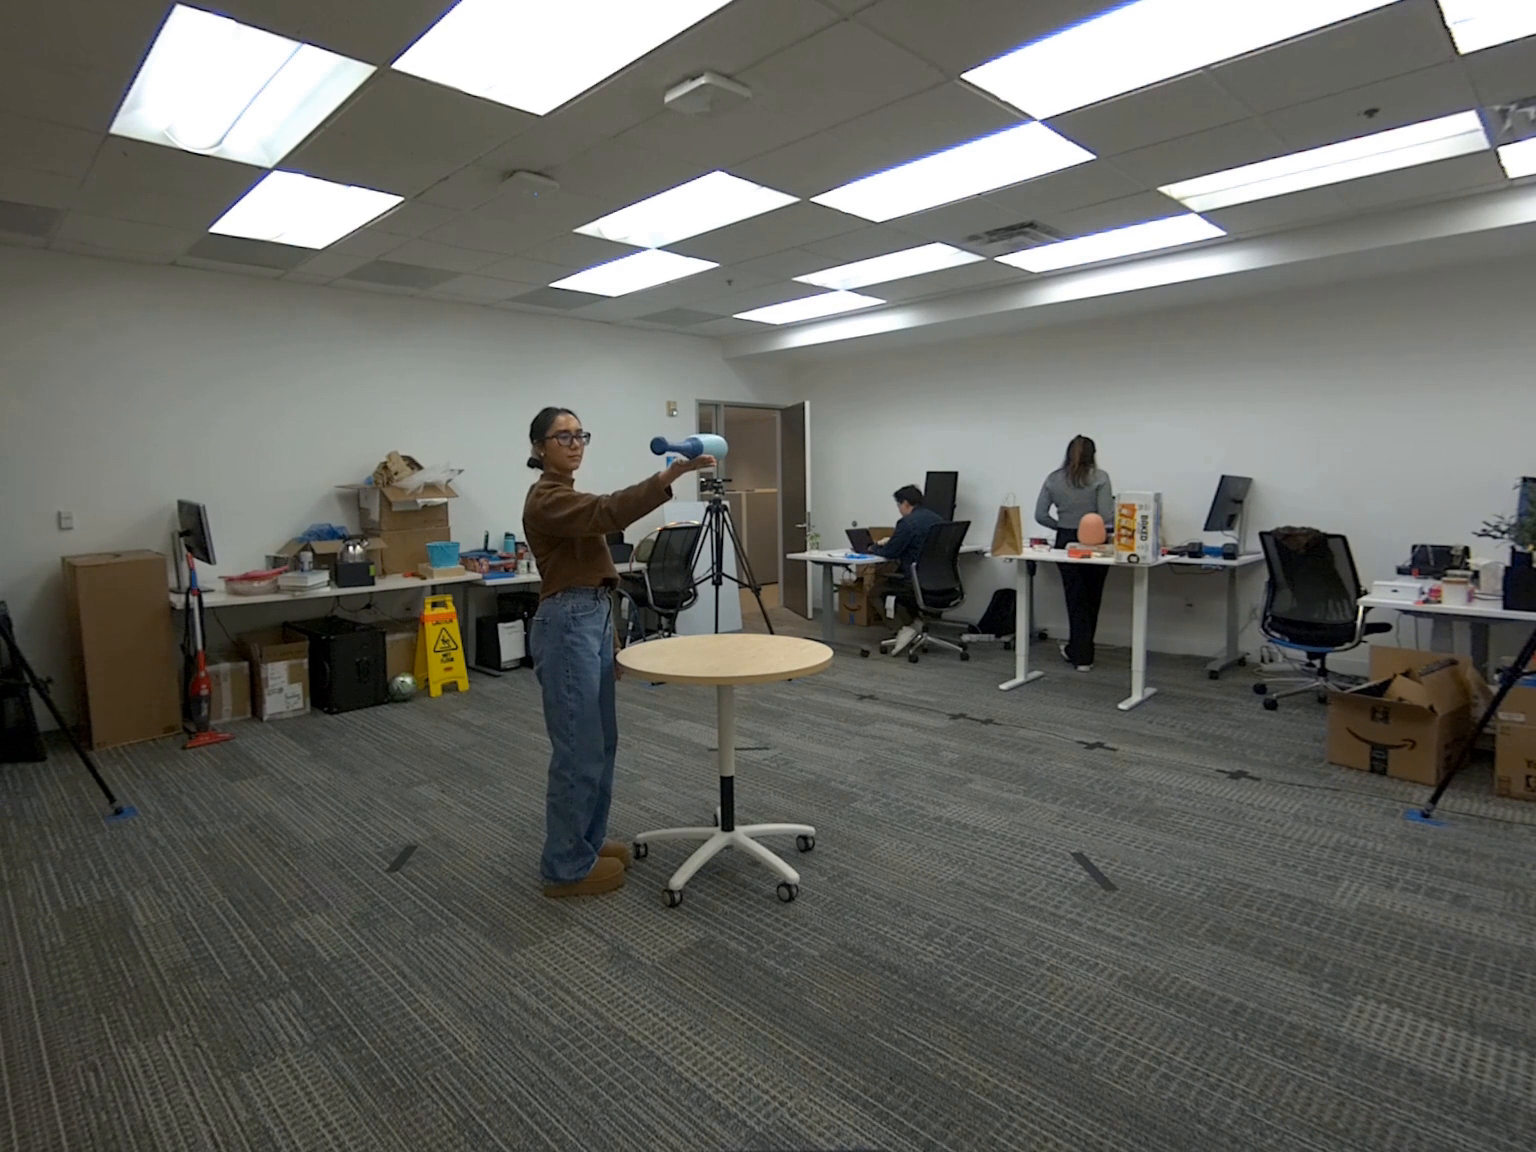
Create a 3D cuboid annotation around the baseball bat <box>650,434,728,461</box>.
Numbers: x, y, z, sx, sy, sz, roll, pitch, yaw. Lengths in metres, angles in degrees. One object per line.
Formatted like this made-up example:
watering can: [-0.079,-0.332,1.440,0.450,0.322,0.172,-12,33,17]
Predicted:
baseball bat: [-0.224,-0.373,2.501,0.090,0.088,0.539,0,8,13]
